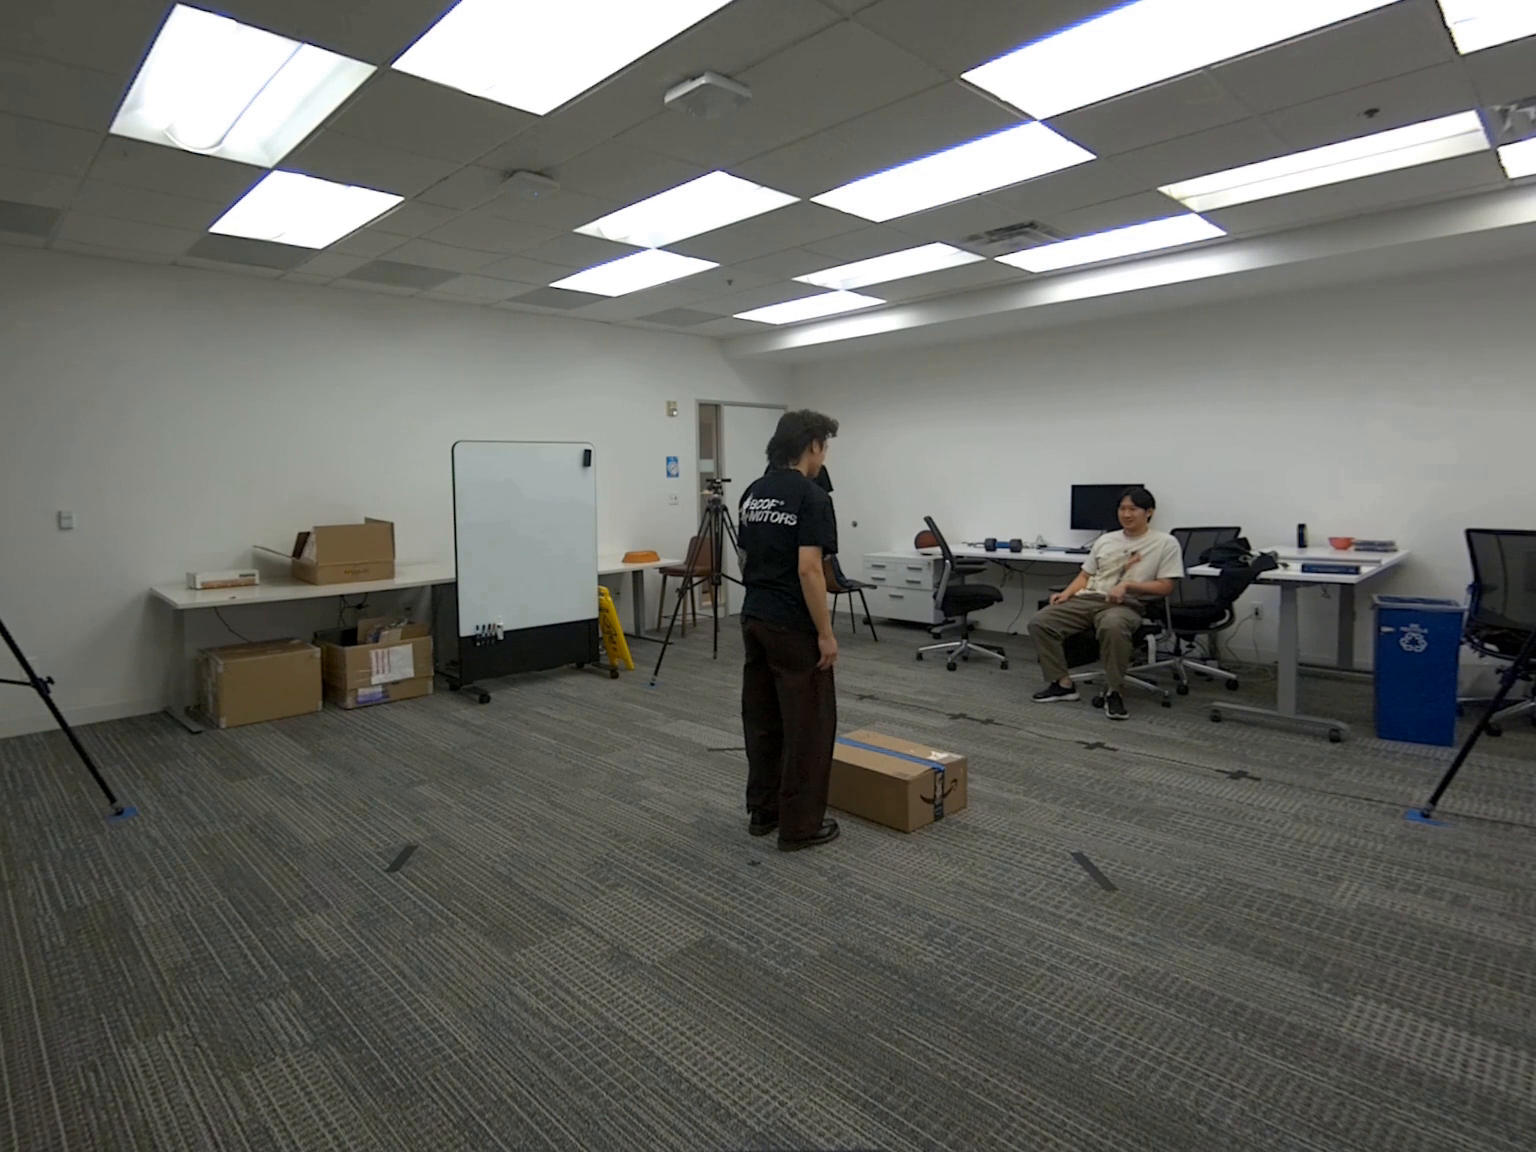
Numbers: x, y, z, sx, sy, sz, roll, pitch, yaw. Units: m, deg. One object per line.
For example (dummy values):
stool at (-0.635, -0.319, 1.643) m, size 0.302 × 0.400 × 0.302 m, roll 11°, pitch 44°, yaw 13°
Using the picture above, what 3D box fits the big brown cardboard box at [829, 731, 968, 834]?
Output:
big brown cardboard box at (0.491, 0.857, 3.659) m, size 0.406 × 0.232 × 0.607 m, roll -6°, pitch 7°, yaw -44°
